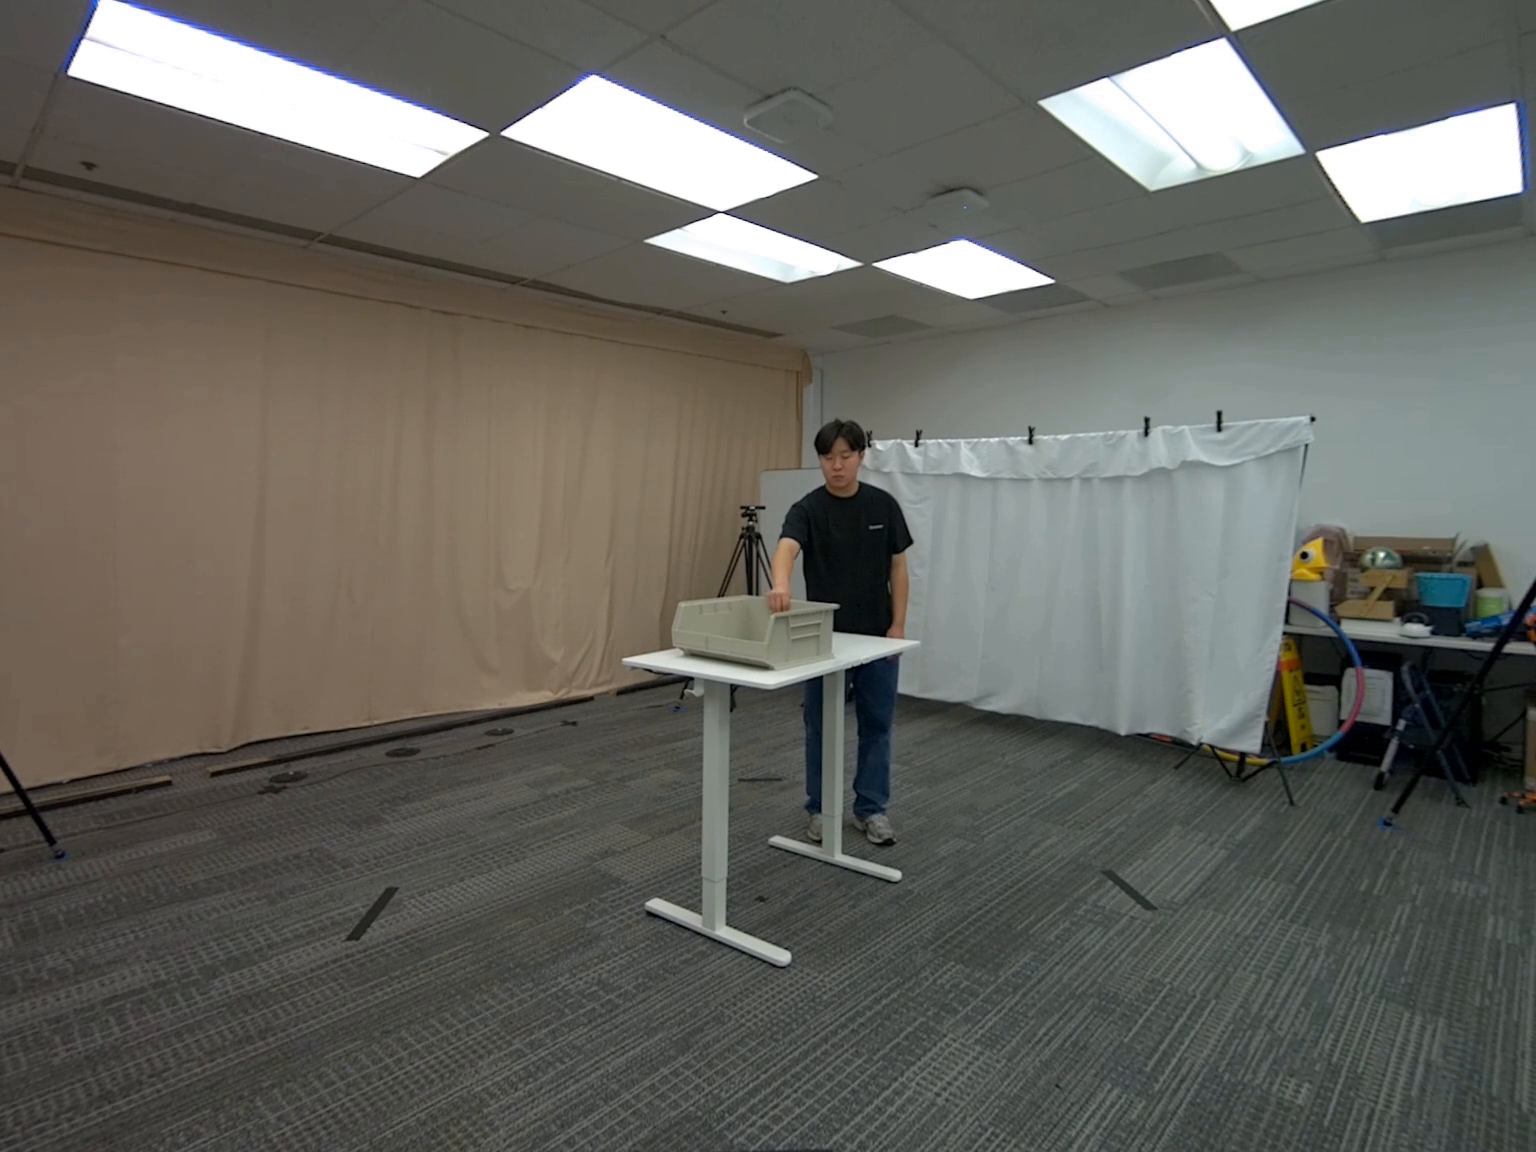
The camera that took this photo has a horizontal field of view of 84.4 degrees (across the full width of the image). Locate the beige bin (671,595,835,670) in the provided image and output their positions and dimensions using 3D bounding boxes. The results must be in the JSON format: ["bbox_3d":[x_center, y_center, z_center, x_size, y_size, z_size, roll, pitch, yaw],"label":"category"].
[{"bbox_3d":[-0.039,0.185,2.820,0.436,0.189,0.365,4,4,42],"label":"beige bin"}]
